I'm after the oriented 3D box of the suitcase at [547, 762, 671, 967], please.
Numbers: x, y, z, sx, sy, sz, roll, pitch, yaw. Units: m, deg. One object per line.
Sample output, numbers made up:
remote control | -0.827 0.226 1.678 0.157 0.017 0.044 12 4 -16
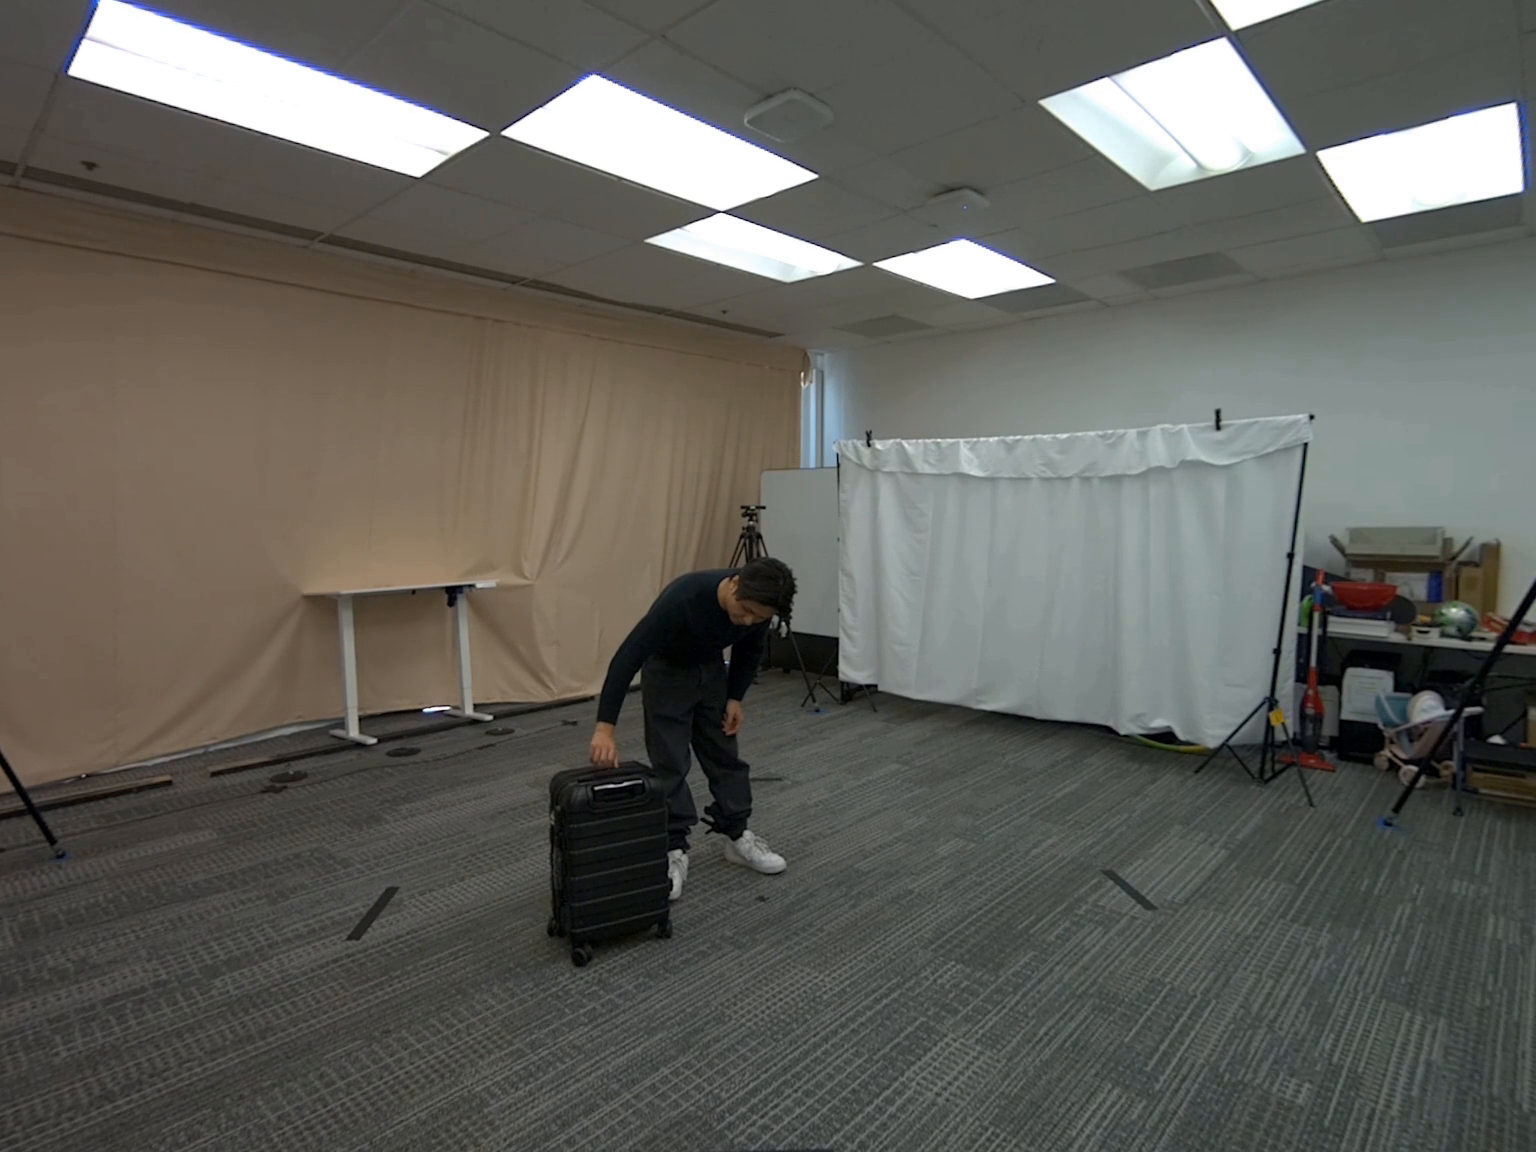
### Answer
suitcase | -0.523 0.892 2.720 0.366 0.549 0.255 -2 2 -28
